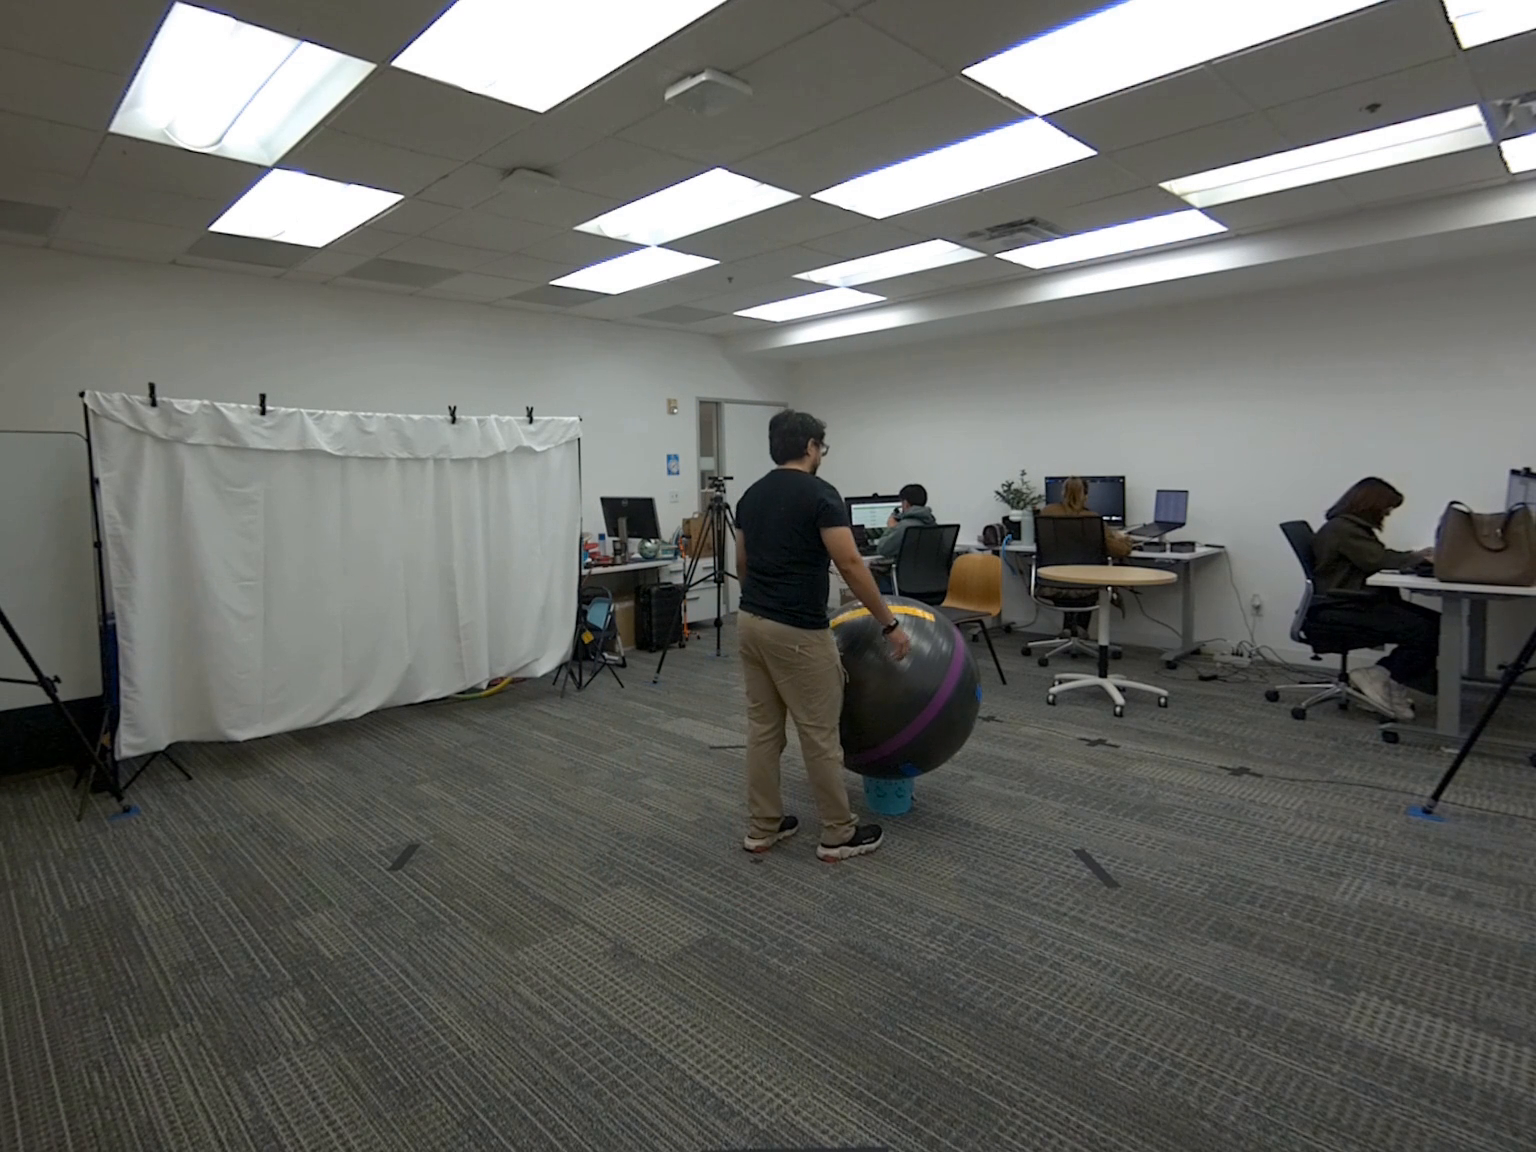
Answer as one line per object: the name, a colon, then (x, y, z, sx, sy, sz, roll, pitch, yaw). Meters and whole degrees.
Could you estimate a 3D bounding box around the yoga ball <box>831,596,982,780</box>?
yoga ball: (0.496, 0.465, 3.570, 0.757, 0.755, 0.762, -1, 5, -2)
